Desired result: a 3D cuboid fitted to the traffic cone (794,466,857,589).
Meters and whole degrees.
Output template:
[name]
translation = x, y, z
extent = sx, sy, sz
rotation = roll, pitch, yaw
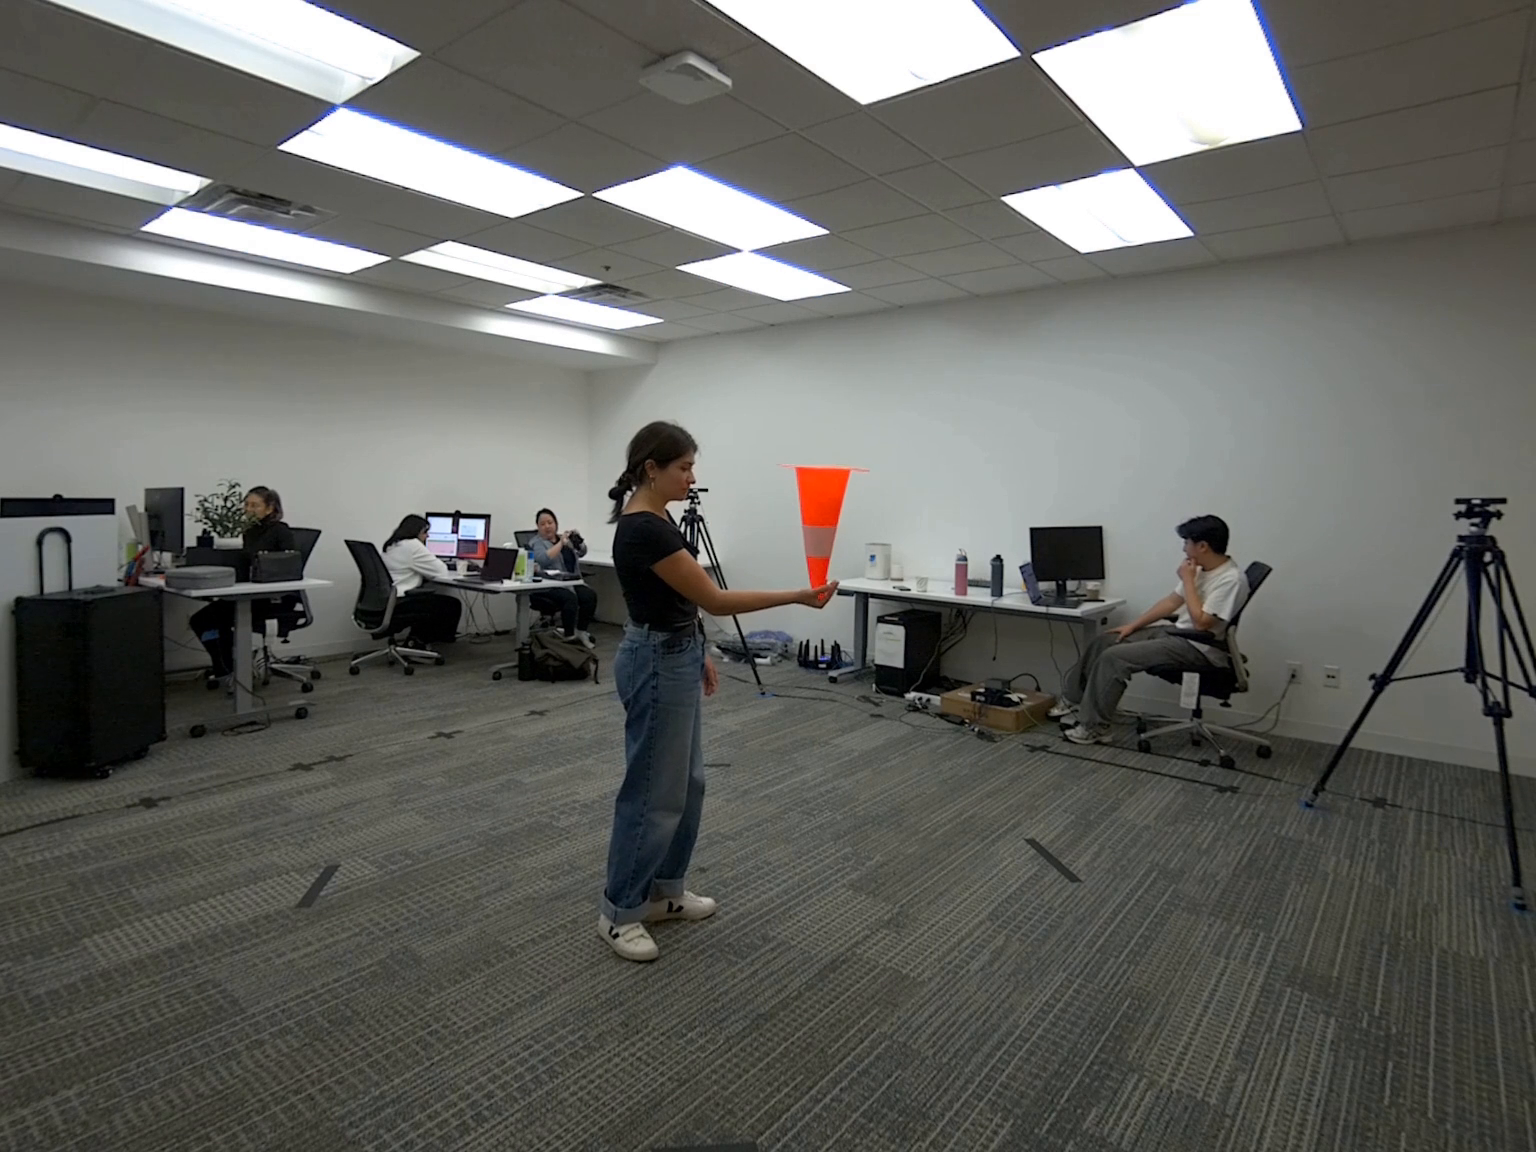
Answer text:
[traffic cone]
translation = 0.150, -0.127, 2.463
extent = 0.202, 0.381, 0.207
rotation = 3, 8, -5
